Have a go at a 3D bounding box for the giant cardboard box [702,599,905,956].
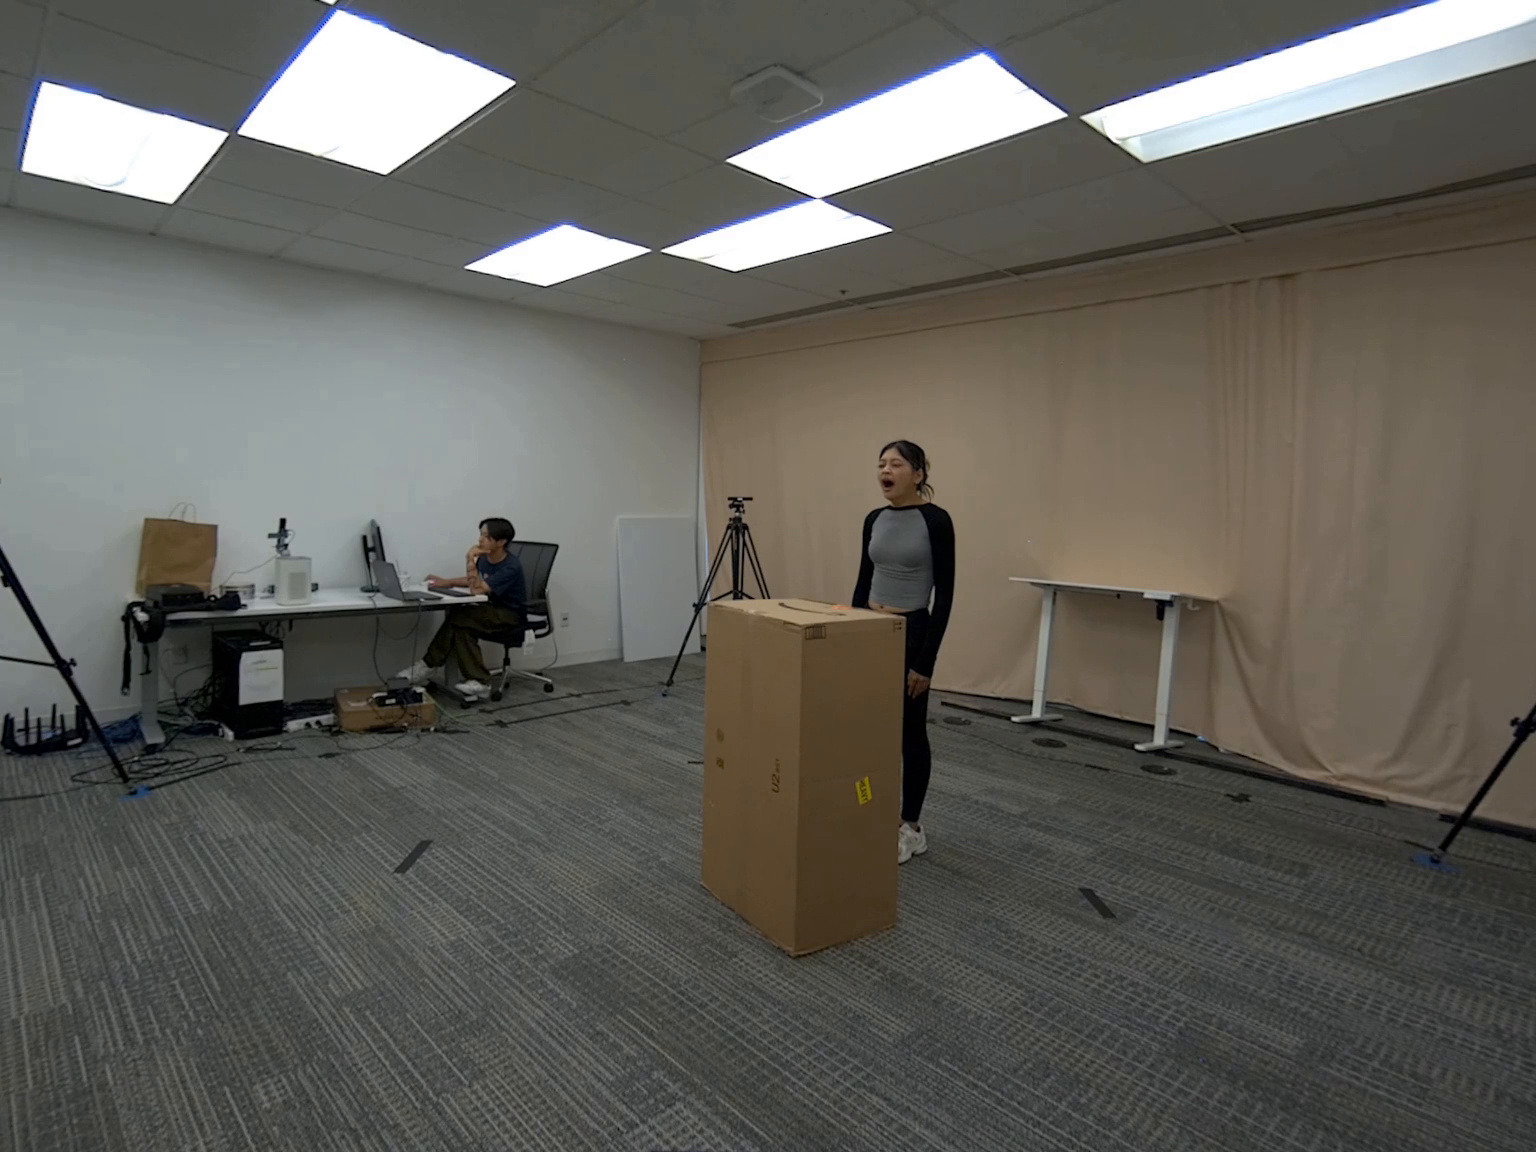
[{"bbox_3d":[0.101,0.626,2.879,0.437,1.024,0.598,-1,4,-34],"label":"giant cardboard box"}]
